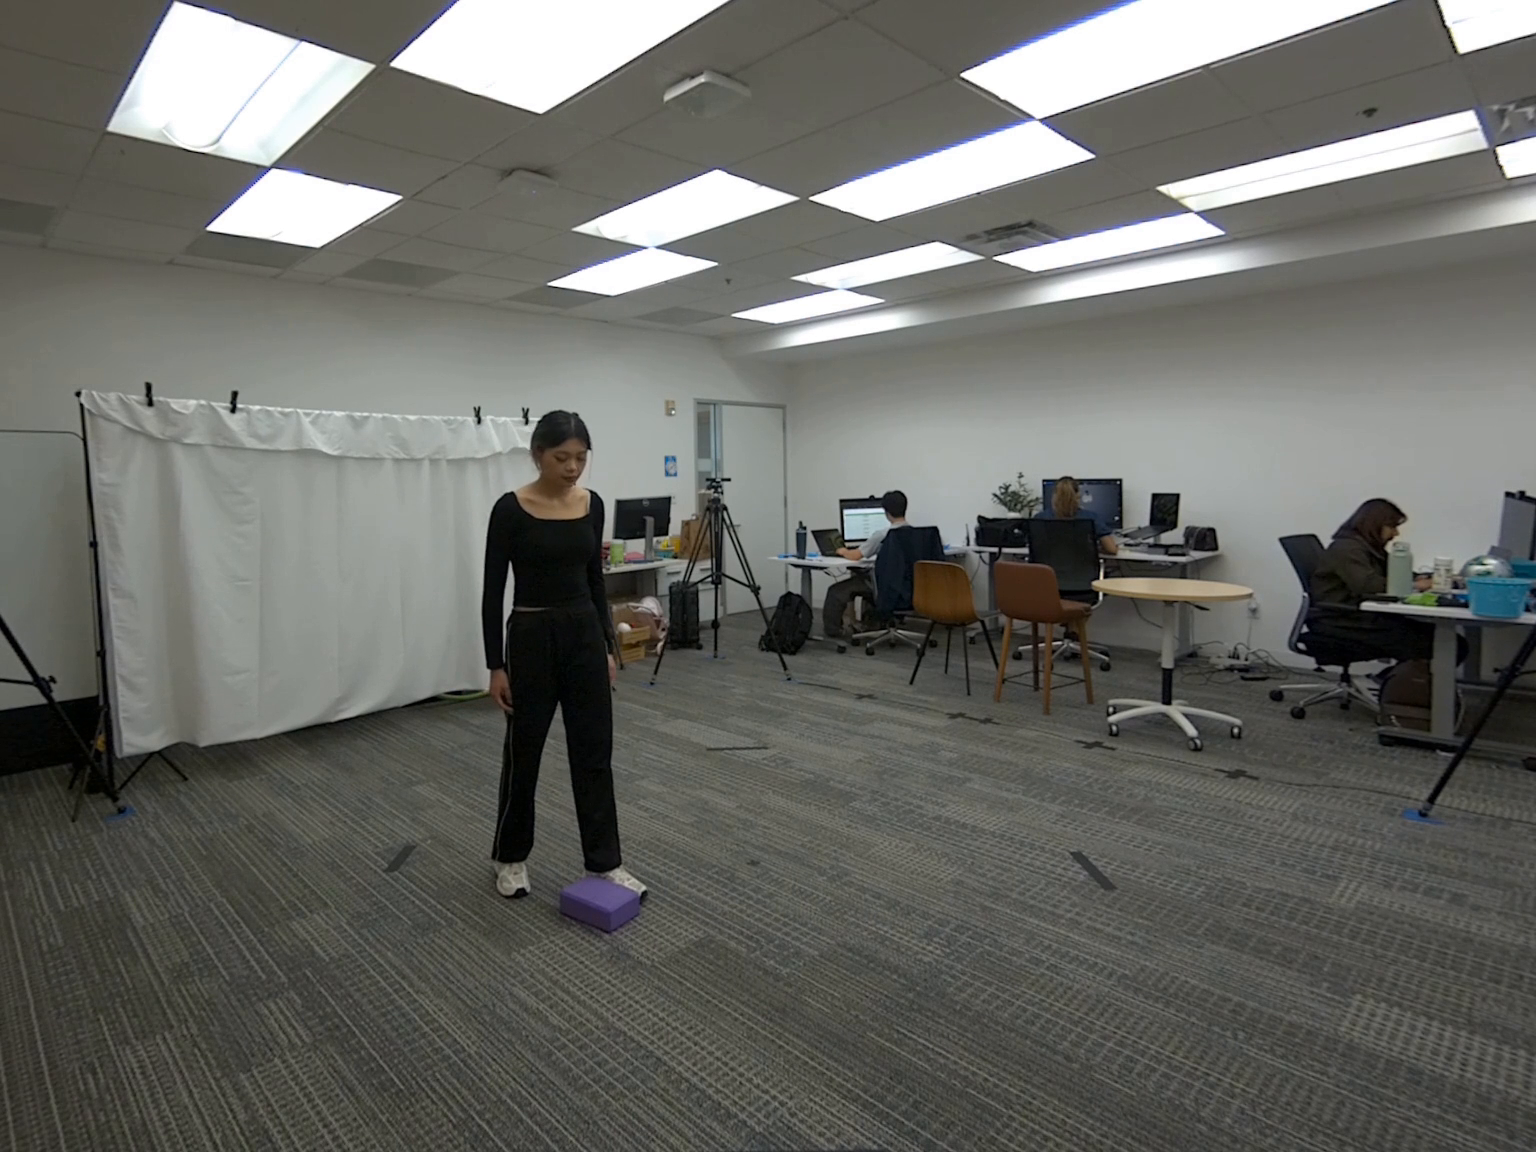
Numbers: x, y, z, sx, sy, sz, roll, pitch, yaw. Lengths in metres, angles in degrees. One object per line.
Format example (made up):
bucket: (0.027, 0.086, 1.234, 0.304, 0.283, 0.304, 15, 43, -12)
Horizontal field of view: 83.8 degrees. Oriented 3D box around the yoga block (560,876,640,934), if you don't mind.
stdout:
yoga block: (-0.542, 1.056, 2.754, 0.236, 0.076, 0.145, 4, 8, 33)
